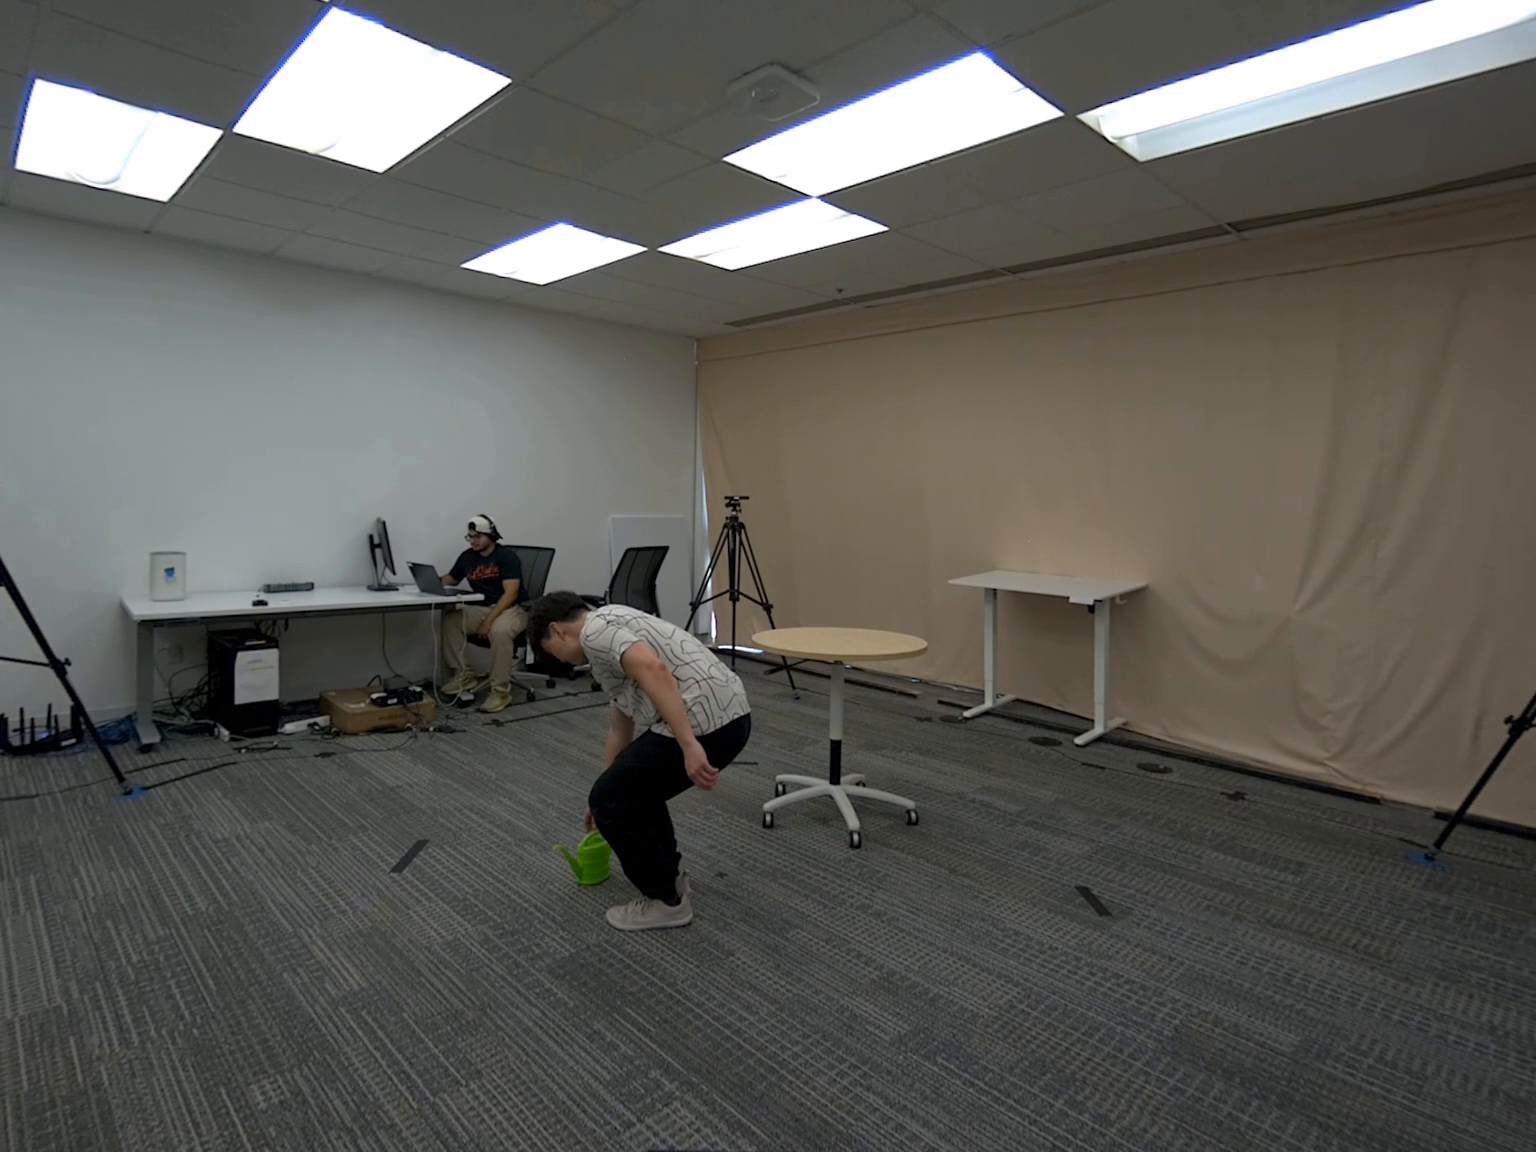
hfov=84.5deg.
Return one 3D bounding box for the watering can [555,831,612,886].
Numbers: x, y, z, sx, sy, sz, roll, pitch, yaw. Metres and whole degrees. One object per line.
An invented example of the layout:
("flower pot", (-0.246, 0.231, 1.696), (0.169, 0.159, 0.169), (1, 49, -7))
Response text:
("watering can", (-0.659, 1.008, 3.007), (0.272, 0.176, 0.100), (-5, 8, -37))
